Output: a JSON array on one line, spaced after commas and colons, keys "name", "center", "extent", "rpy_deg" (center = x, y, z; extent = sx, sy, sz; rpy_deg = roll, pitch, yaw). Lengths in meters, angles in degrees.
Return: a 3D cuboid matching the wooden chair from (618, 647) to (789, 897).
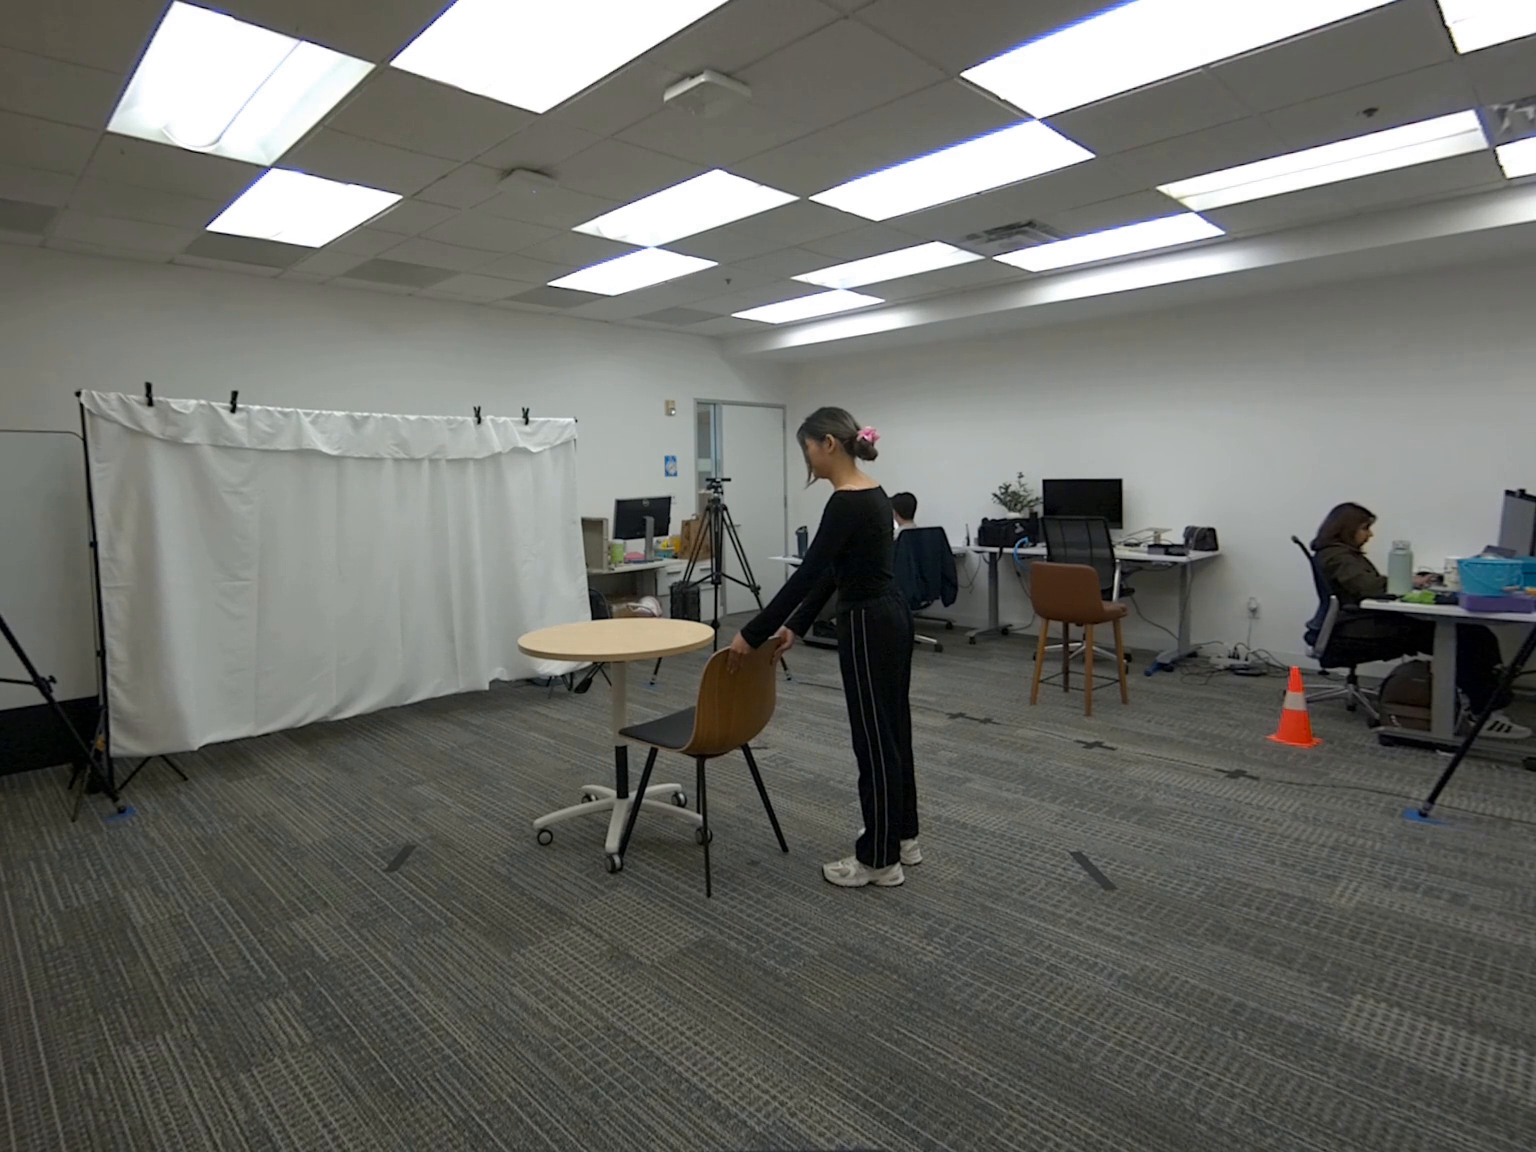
[{"name": "wooden chair", "center": [-0.246, 0.611, 3.130], "extent": [0.540, 0.871, 0.466], "rpy_deg": [9, 10, 39]}]
